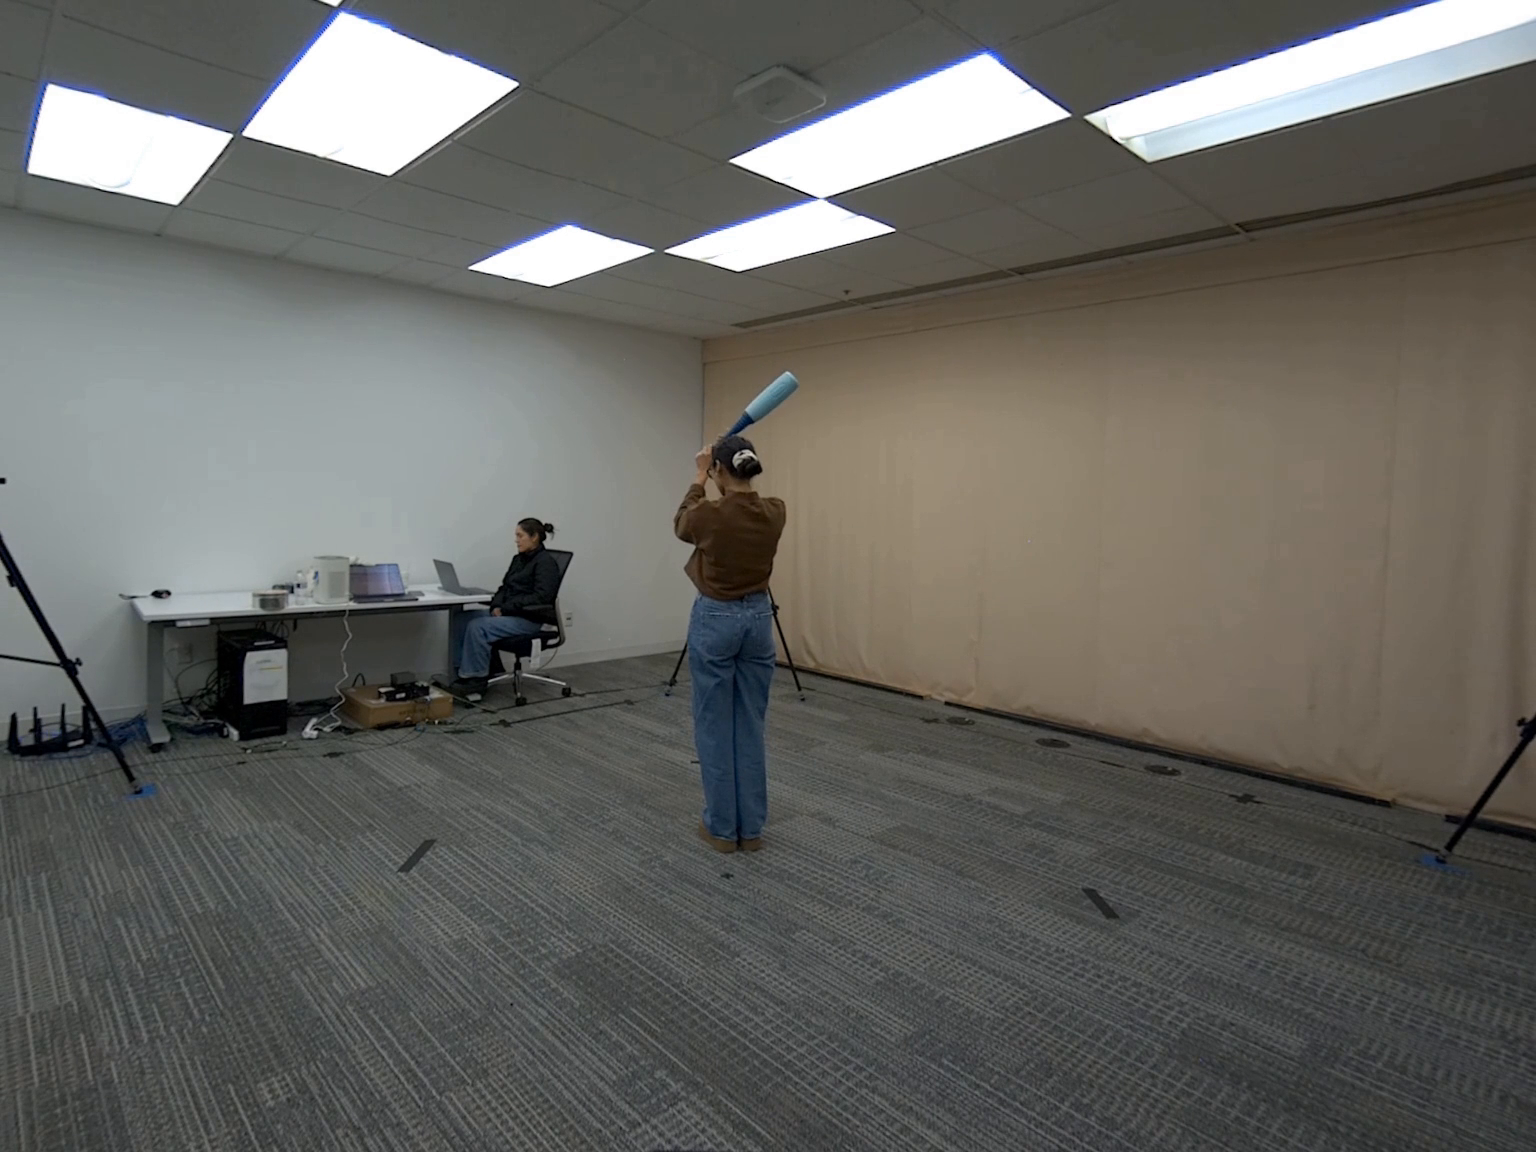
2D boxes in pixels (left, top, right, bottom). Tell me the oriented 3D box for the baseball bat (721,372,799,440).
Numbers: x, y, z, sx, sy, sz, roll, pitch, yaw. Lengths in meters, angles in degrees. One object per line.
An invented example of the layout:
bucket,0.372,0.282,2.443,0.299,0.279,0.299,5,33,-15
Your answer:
baseball bat,-0.101,-0.665,3.605,0.543,0.089,0.089,-40,3,3
